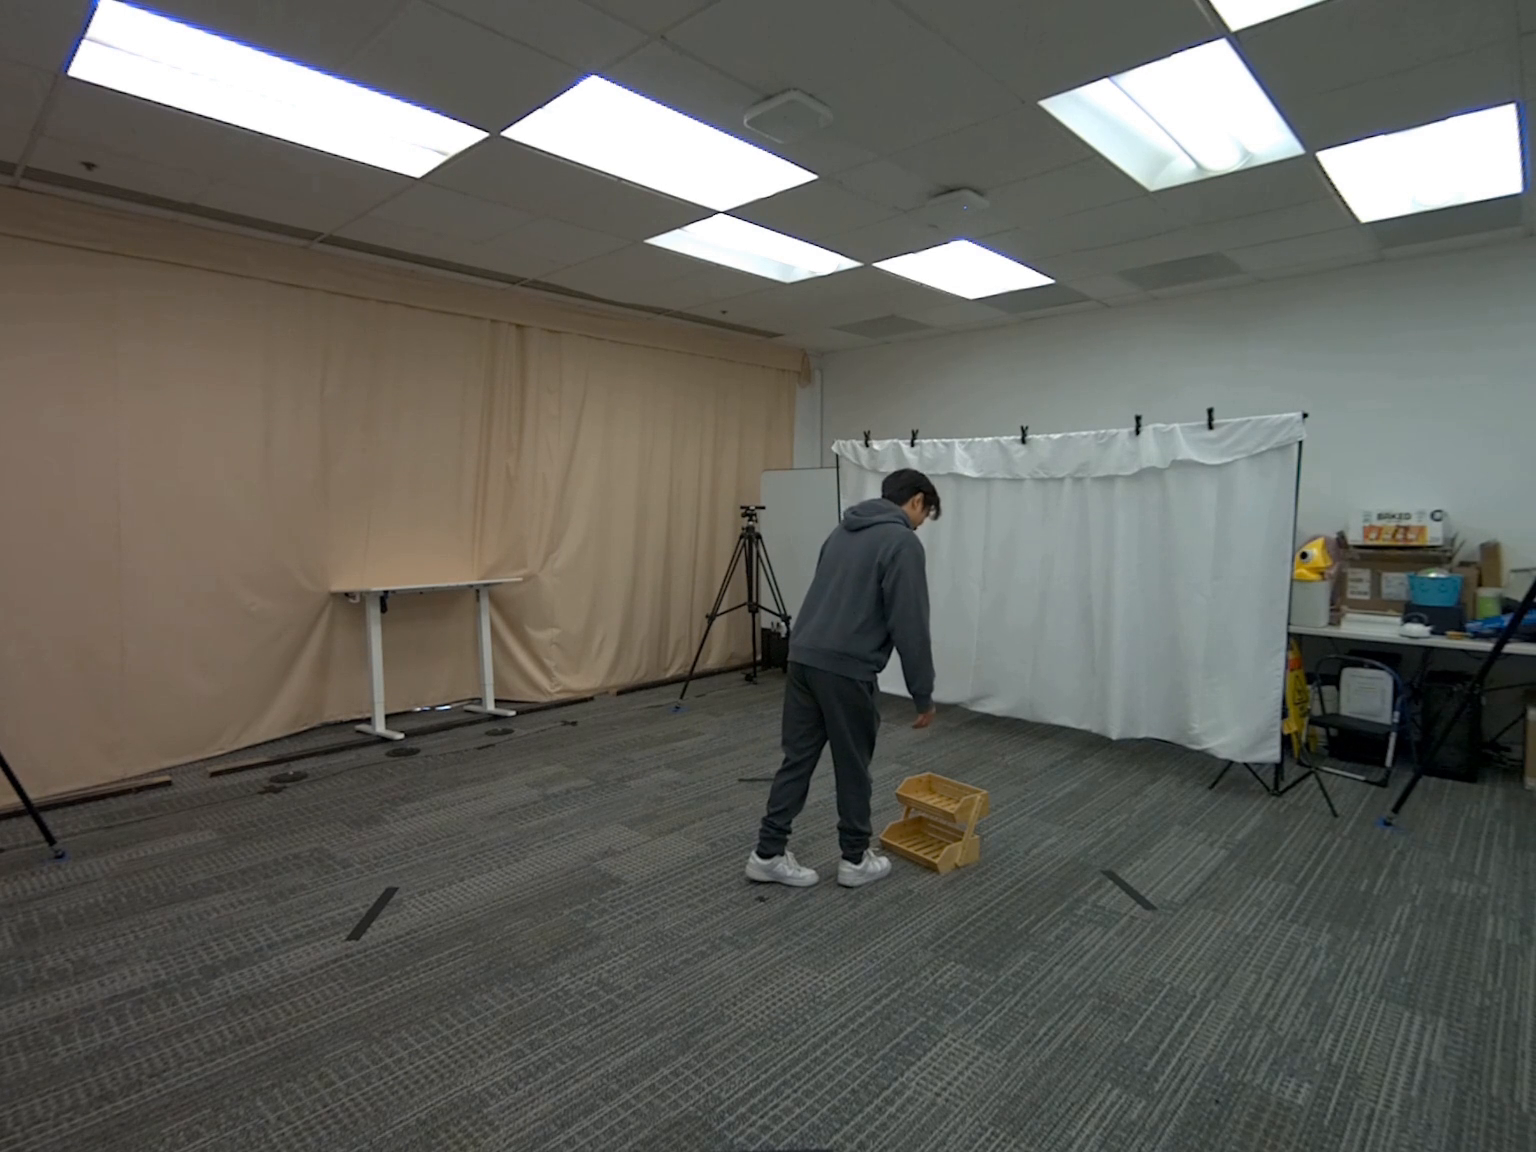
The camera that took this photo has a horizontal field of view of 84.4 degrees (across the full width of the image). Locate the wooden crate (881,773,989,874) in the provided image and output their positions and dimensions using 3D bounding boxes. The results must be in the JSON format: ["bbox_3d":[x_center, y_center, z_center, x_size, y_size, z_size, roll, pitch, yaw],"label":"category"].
[{"bbox_3d":[0.665,0.974,3.378,0.293,0.273,0.335,-2,4,-37],"label":"wooden crate"}]
